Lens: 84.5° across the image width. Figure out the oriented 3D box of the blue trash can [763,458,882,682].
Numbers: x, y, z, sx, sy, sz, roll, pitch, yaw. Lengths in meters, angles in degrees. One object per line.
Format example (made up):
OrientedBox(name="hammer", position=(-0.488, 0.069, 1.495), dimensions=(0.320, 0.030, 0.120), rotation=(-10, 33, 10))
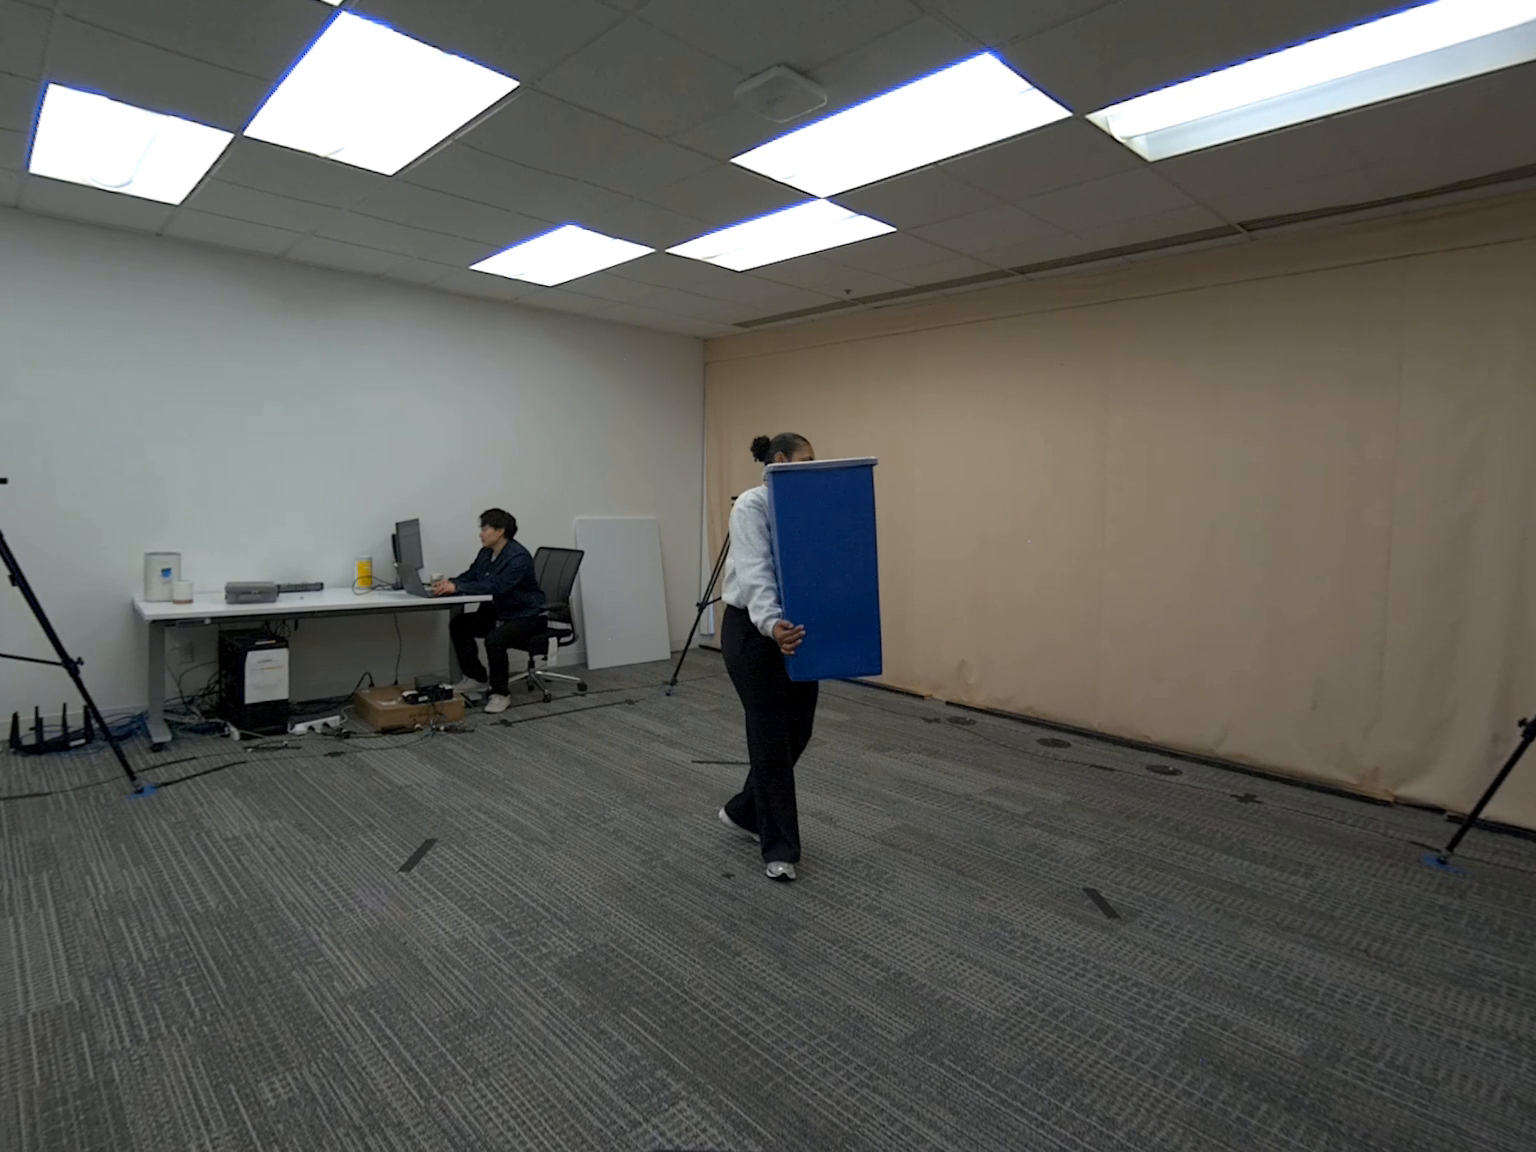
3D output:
OrientedBox(name="blue trash can", position=(0.177, -0.025, 2.907), dimensions=(0.374, 0.714, 0.378), rotation=(-3, 0, 0))
